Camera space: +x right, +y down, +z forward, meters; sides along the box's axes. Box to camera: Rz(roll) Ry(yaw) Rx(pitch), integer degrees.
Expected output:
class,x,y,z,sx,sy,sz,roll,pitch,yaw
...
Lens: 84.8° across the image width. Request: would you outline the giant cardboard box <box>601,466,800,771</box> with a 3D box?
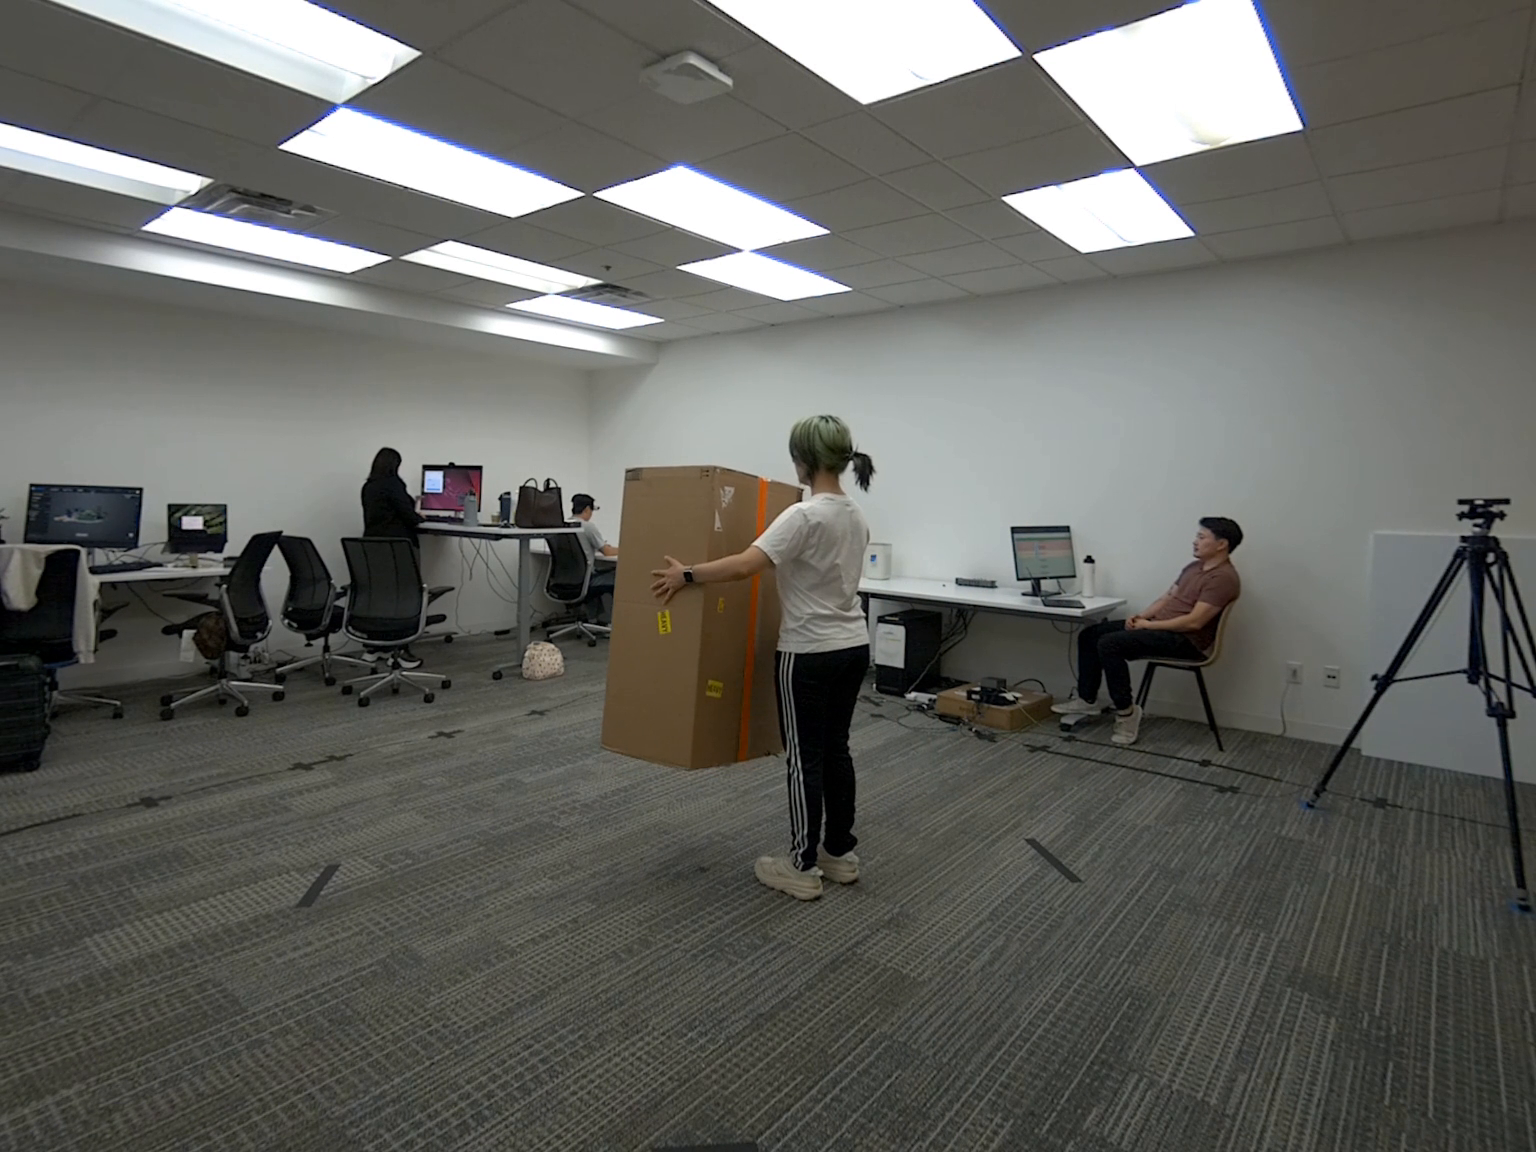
class,x,y,z,sx,sy,sz,roll,pitch,yaw
giant cardboard box,-0.238,0.140,3.186,0.440,1.029,0.558,2,-4,36
